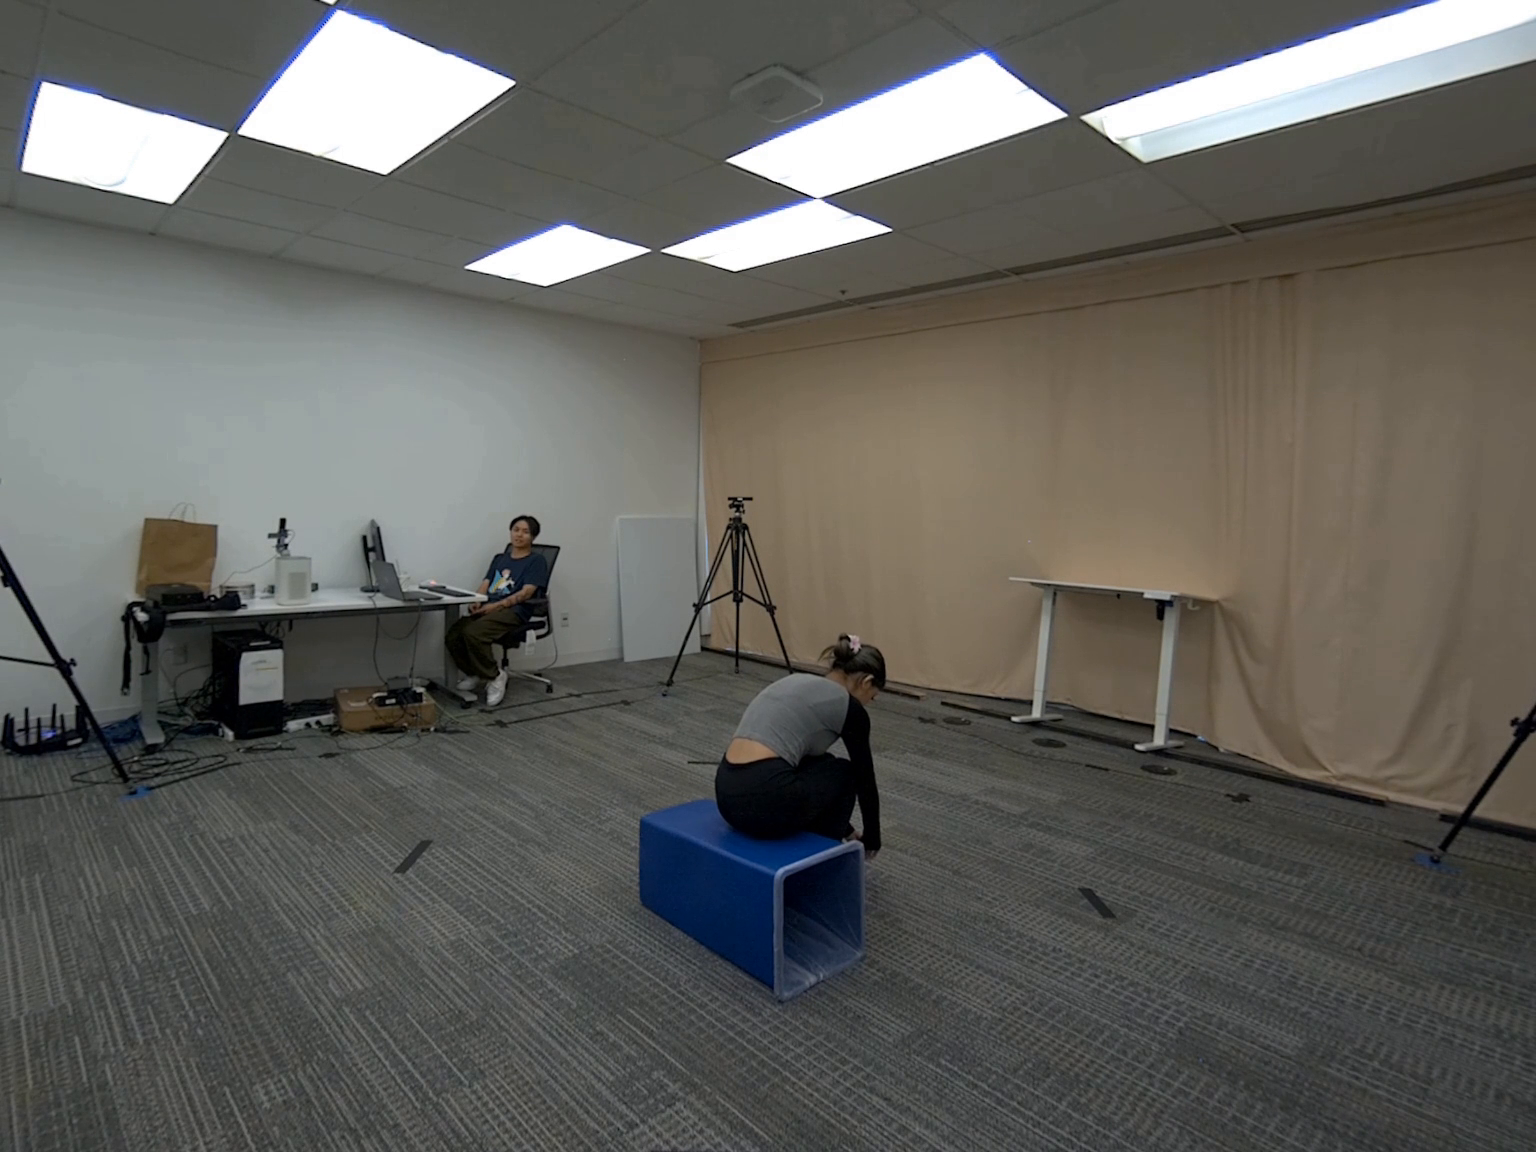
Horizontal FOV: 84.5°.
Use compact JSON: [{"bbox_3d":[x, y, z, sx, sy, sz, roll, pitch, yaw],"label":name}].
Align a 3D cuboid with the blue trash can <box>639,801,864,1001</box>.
[{"bbox_3d":[-0.093,0.971,2.695,0.369,0.373,0.731,-3,4,-44],"label":"blue trash can"}]
